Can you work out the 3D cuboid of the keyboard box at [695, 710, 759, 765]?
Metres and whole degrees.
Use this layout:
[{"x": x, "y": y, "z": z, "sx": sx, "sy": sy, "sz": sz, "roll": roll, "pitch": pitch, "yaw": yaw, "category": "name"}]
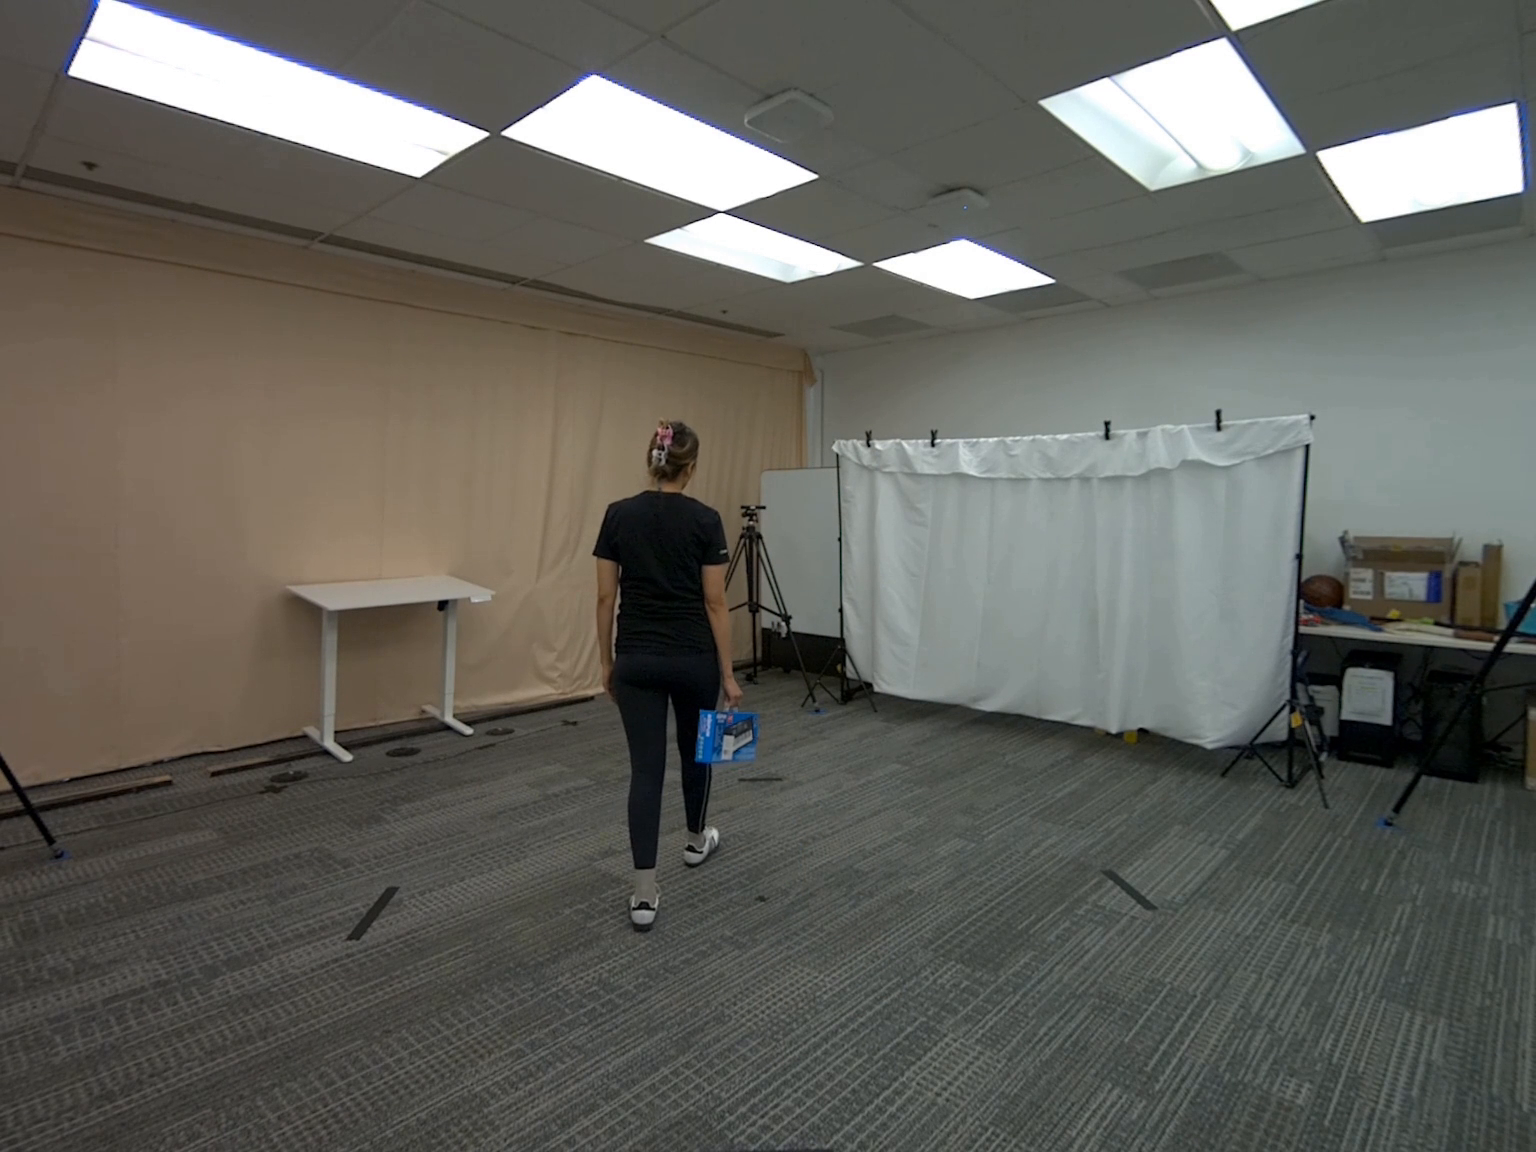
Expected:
[{"x": -0.137, "y": 0.566, "z": 2.998, "sx": 0.060, "sy": 0.177, "sz": 0.425, "roll": 2, "pitch": -10, "yaw": 21, "category": "keyboard box"}]
